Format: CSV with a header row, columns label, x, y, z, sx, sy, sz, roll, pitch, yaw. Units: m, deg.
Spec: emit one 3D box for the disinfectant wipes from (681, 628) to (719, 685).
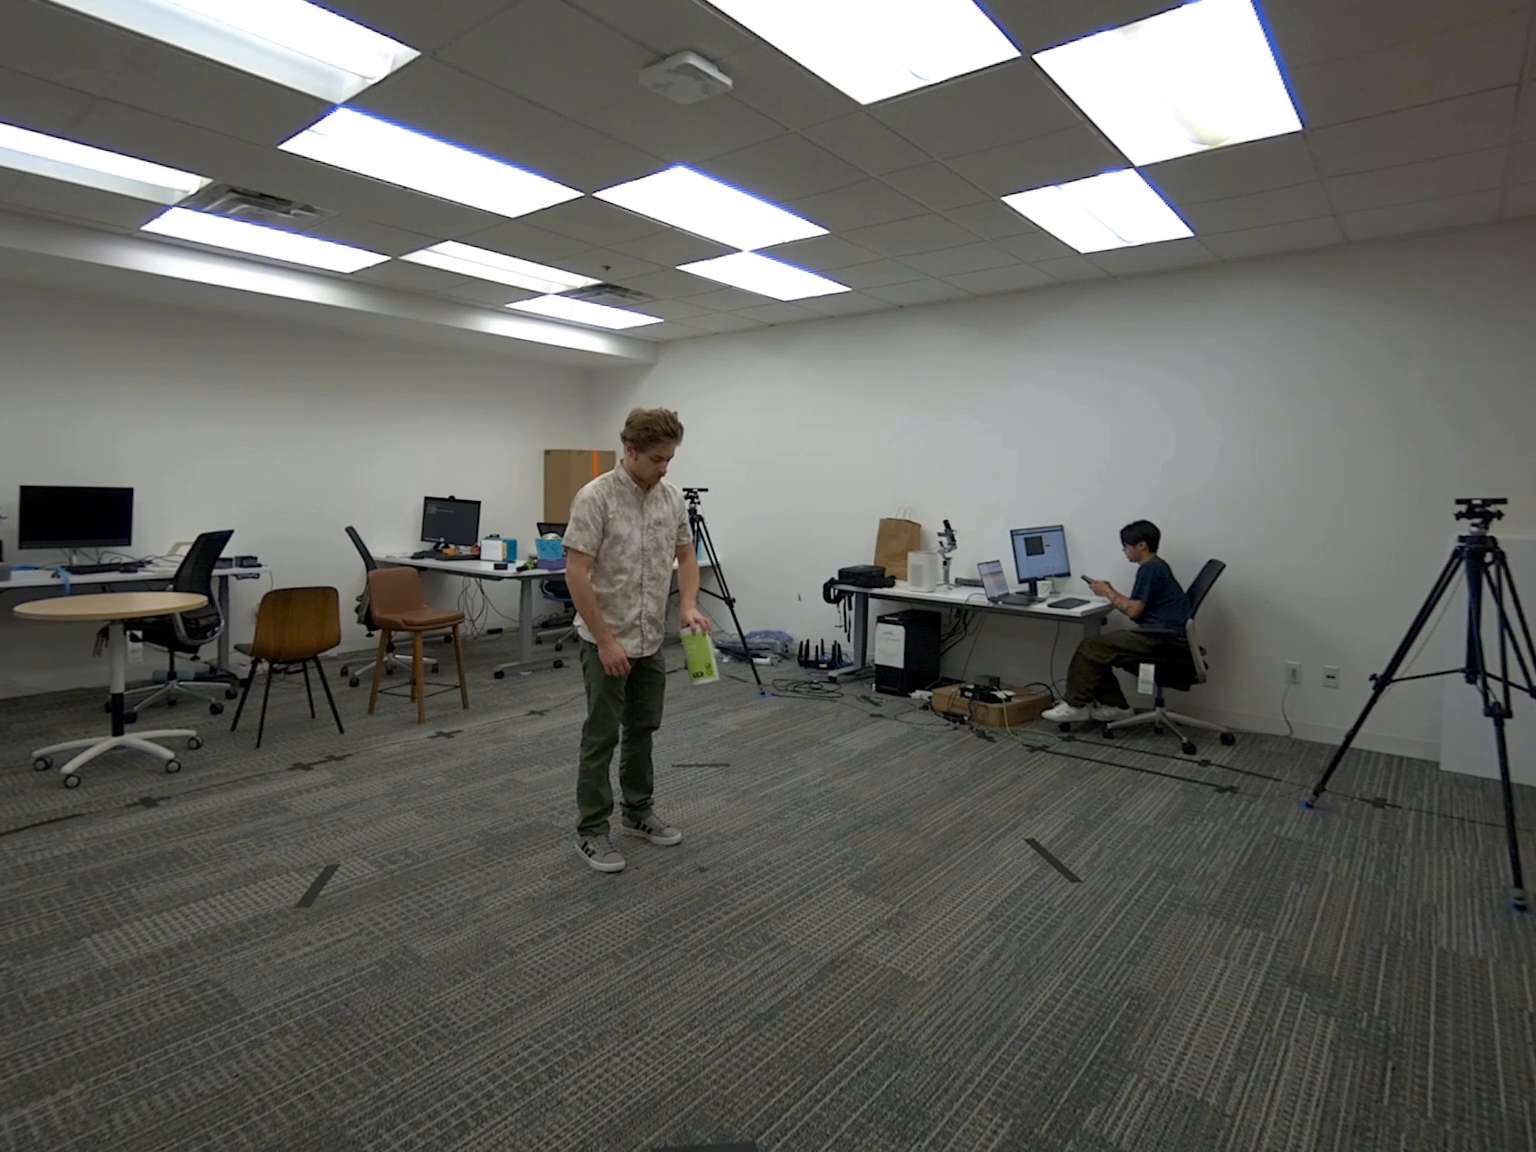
label,x,y,z,sx,sy,sz,roll,pitch,yaw
disinfectant wipes,-0.264,0.291,3.136,0.117,0.219,0.117,-11,-7,-3
